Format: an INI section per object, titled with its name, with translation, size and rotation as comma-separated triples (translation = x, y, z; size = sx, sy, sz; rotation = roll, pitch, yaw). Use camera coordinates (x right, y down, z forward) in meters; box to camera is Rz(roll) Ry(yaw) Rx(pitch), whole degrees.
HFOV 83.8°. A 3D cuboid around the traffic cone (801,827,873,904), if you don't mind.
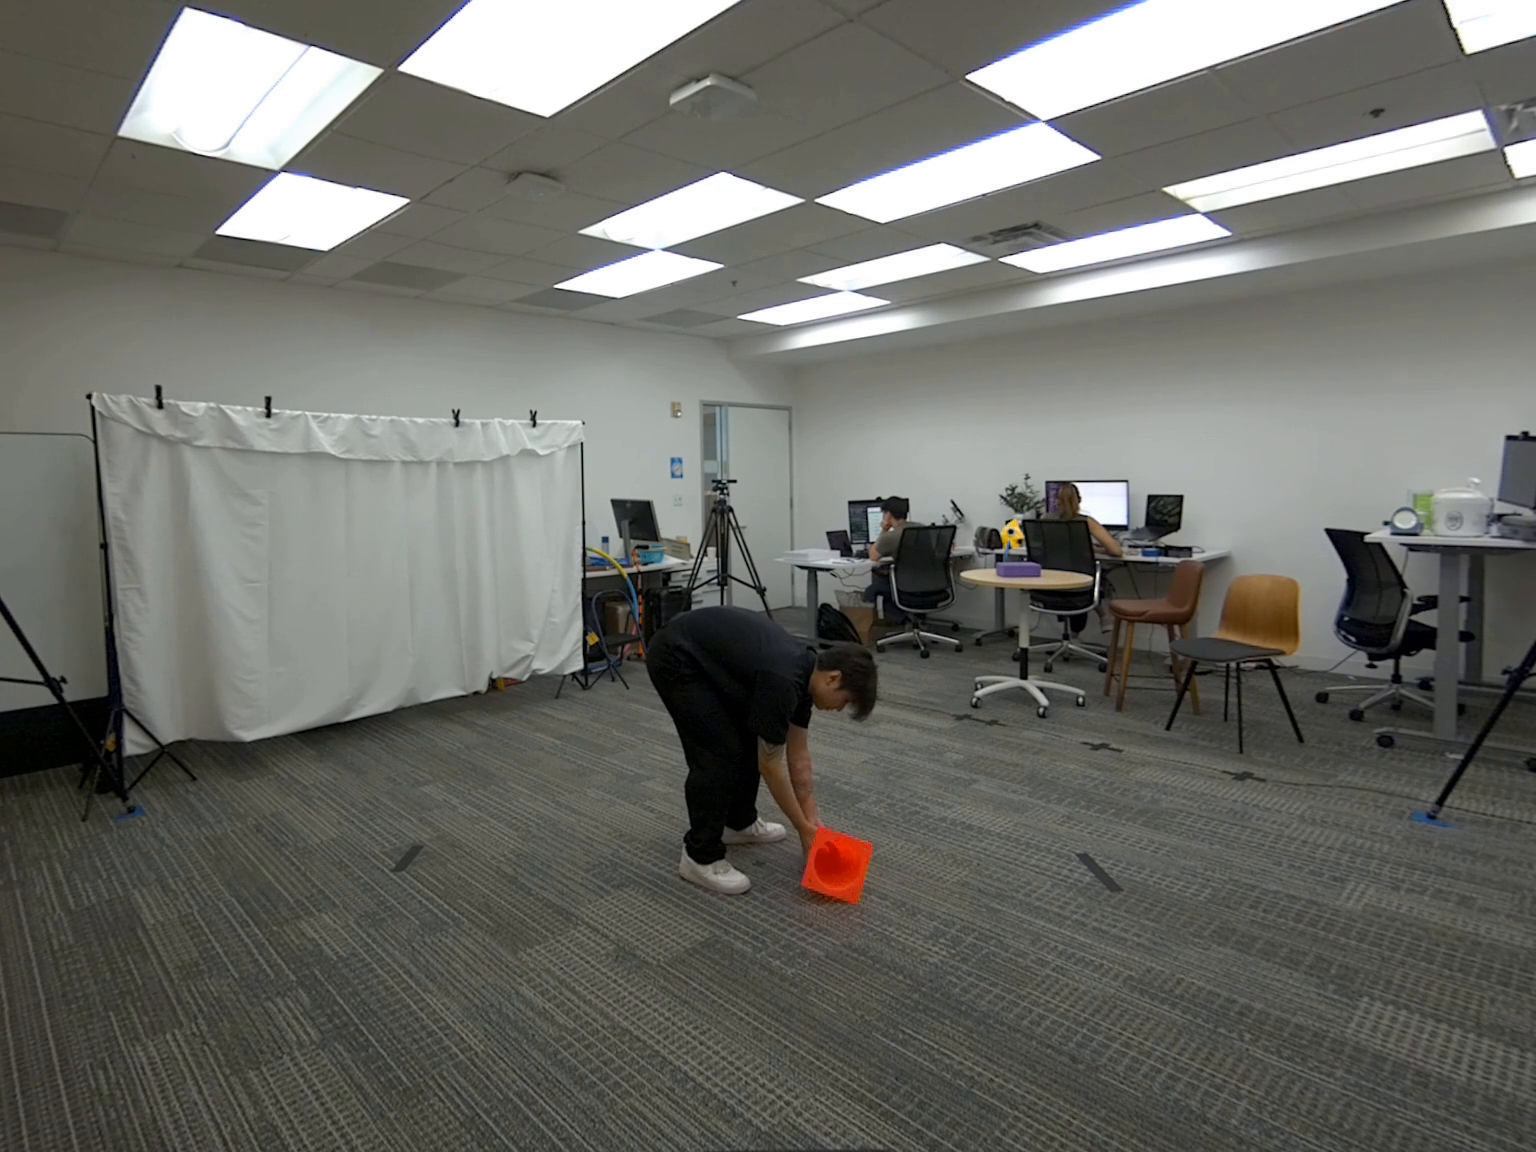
[traffic cone]
translation = 0.210, 0.994, 3.008
size = 0.203, 0.207, 0.381
rotation = 16, -14, -4
